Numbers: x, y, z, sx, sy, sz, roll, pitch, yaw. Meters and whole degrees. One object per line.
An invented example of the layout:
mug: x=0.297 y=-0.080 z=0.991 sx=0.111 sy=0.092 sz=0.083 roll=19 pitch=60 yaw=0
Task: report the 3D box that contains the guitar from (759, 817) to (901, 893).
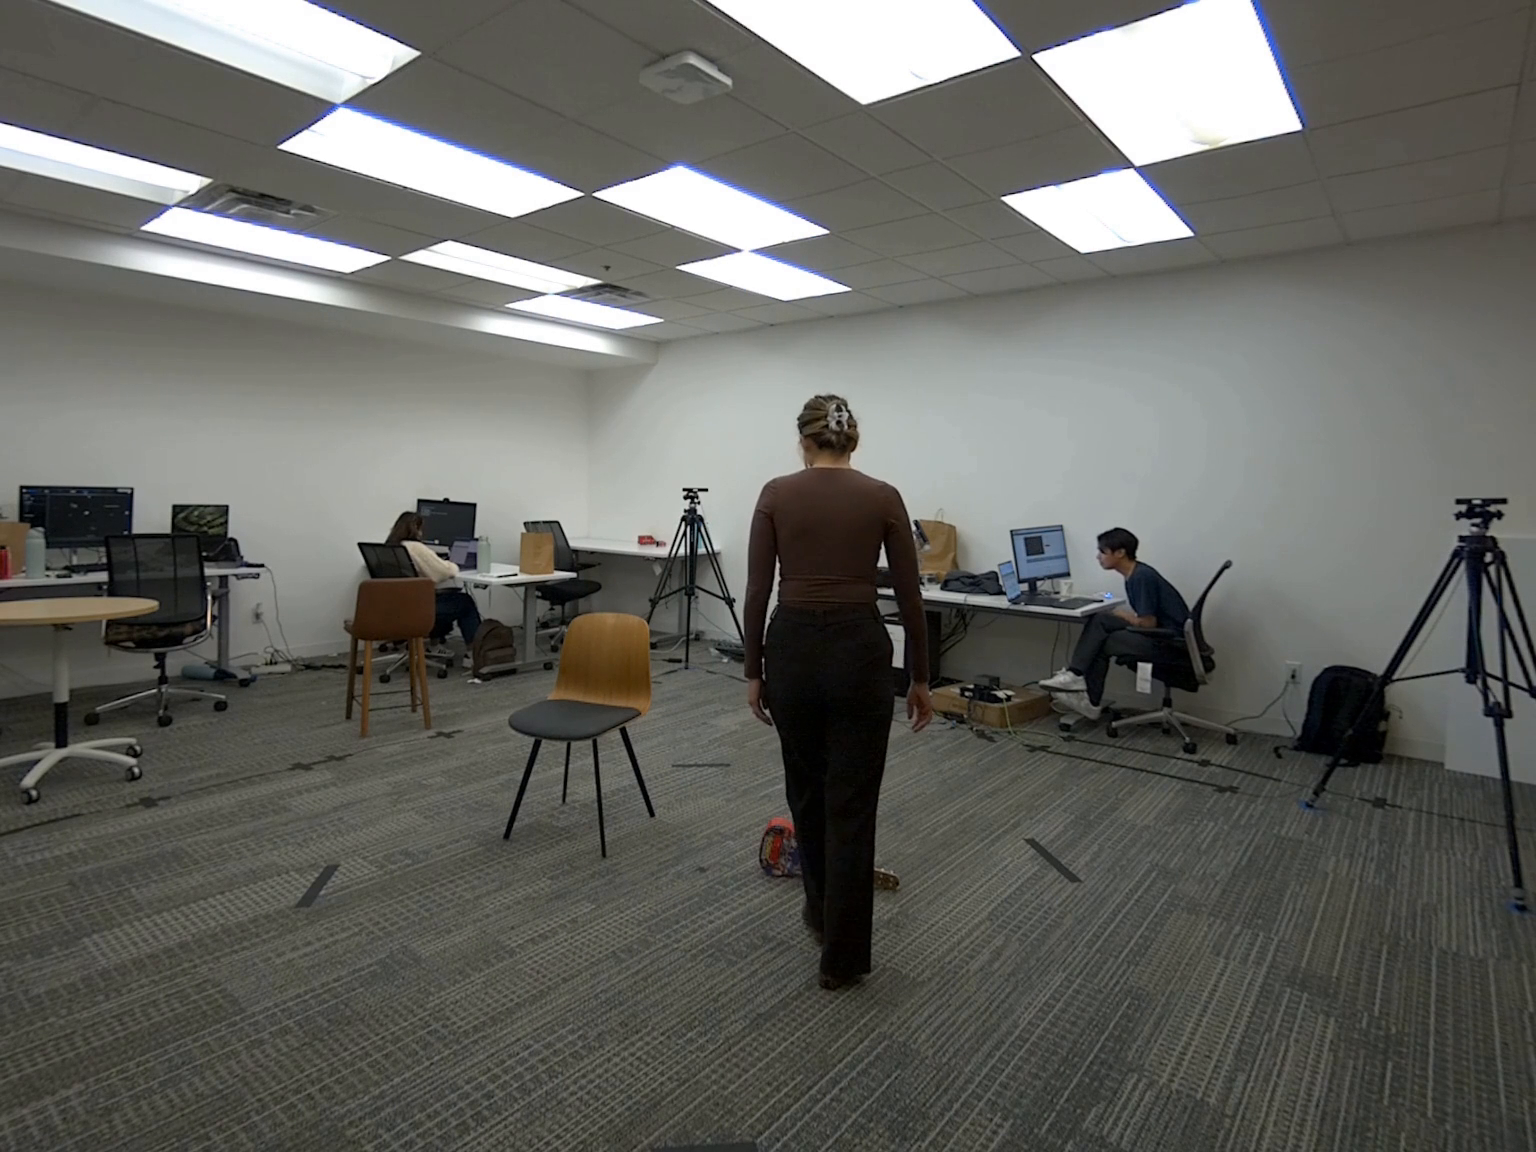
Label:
guitar: x=0.199 y=1.043 z=3.045 sx=0.504 sy=0.192 sz=0.070 roll=20 pitch=7 yaw=9
